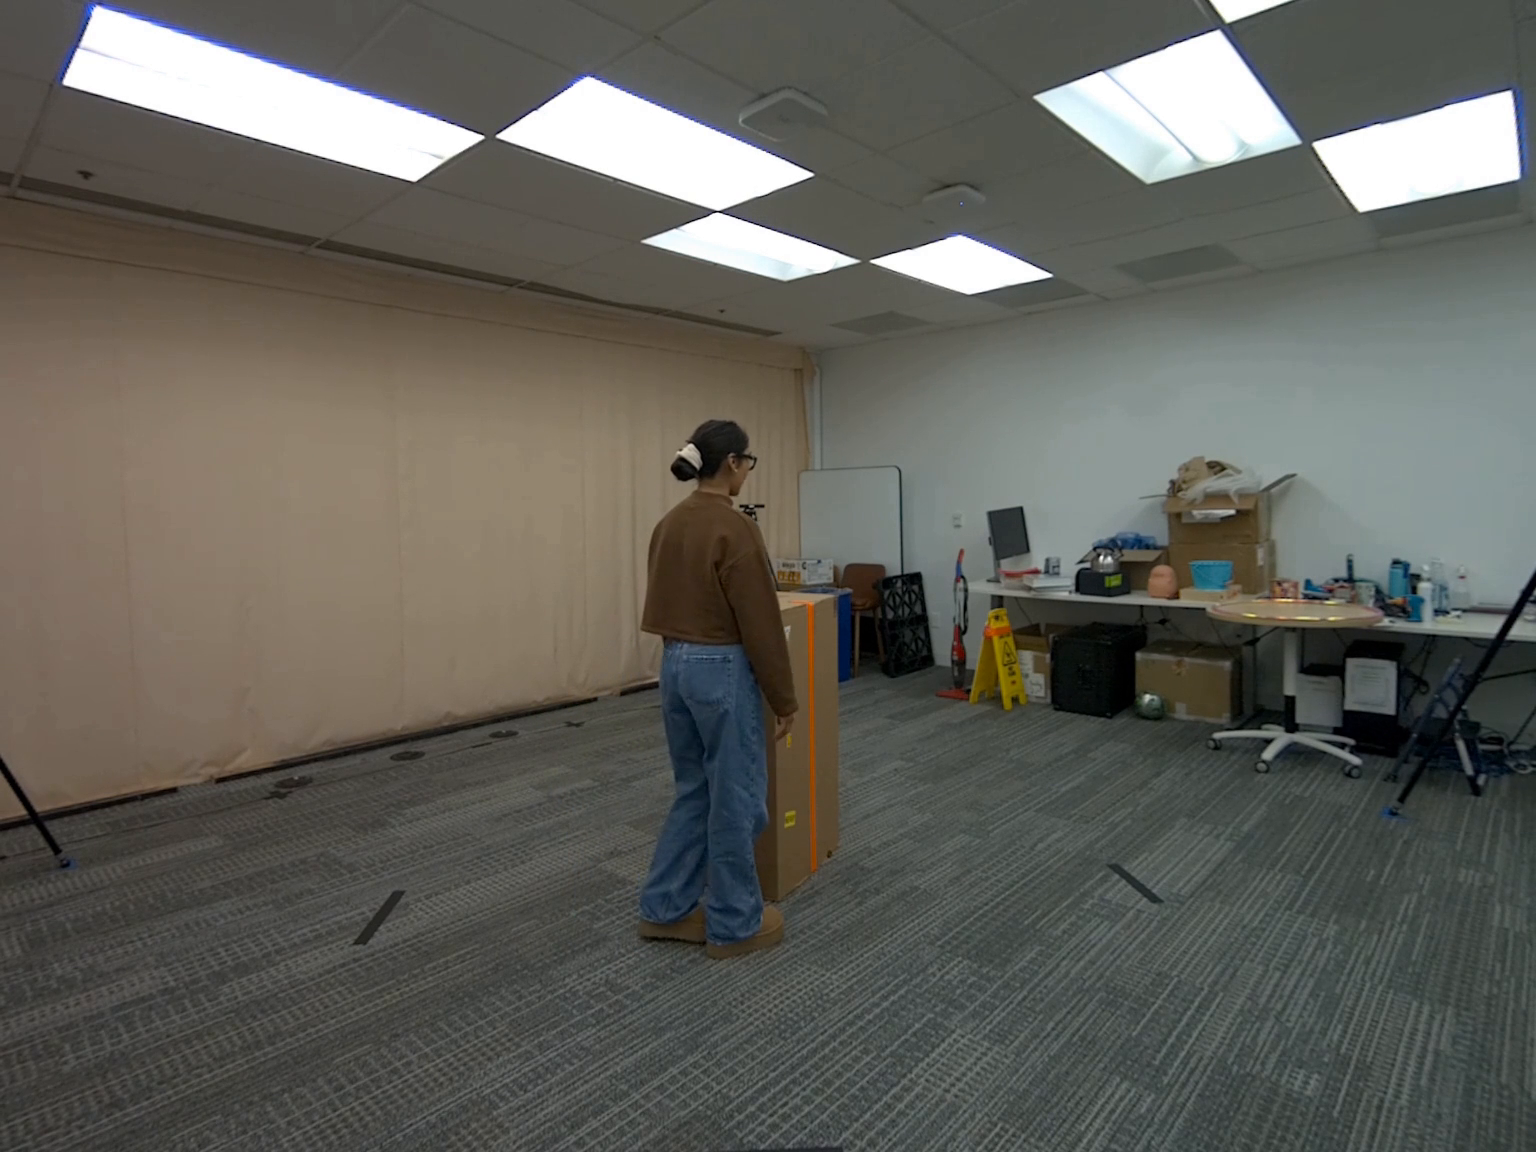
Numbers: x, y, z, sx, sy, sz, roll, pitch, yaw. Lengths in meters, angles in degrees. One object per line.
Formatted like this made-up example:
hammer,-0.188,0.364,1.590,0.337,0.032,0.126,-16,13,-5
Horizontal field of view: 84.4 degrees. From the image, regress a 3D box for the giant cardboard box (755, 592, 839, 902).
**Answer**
giant cardboard box,-0.021,0.605,3.268,0.438,1.024,0.562,1,4,29
